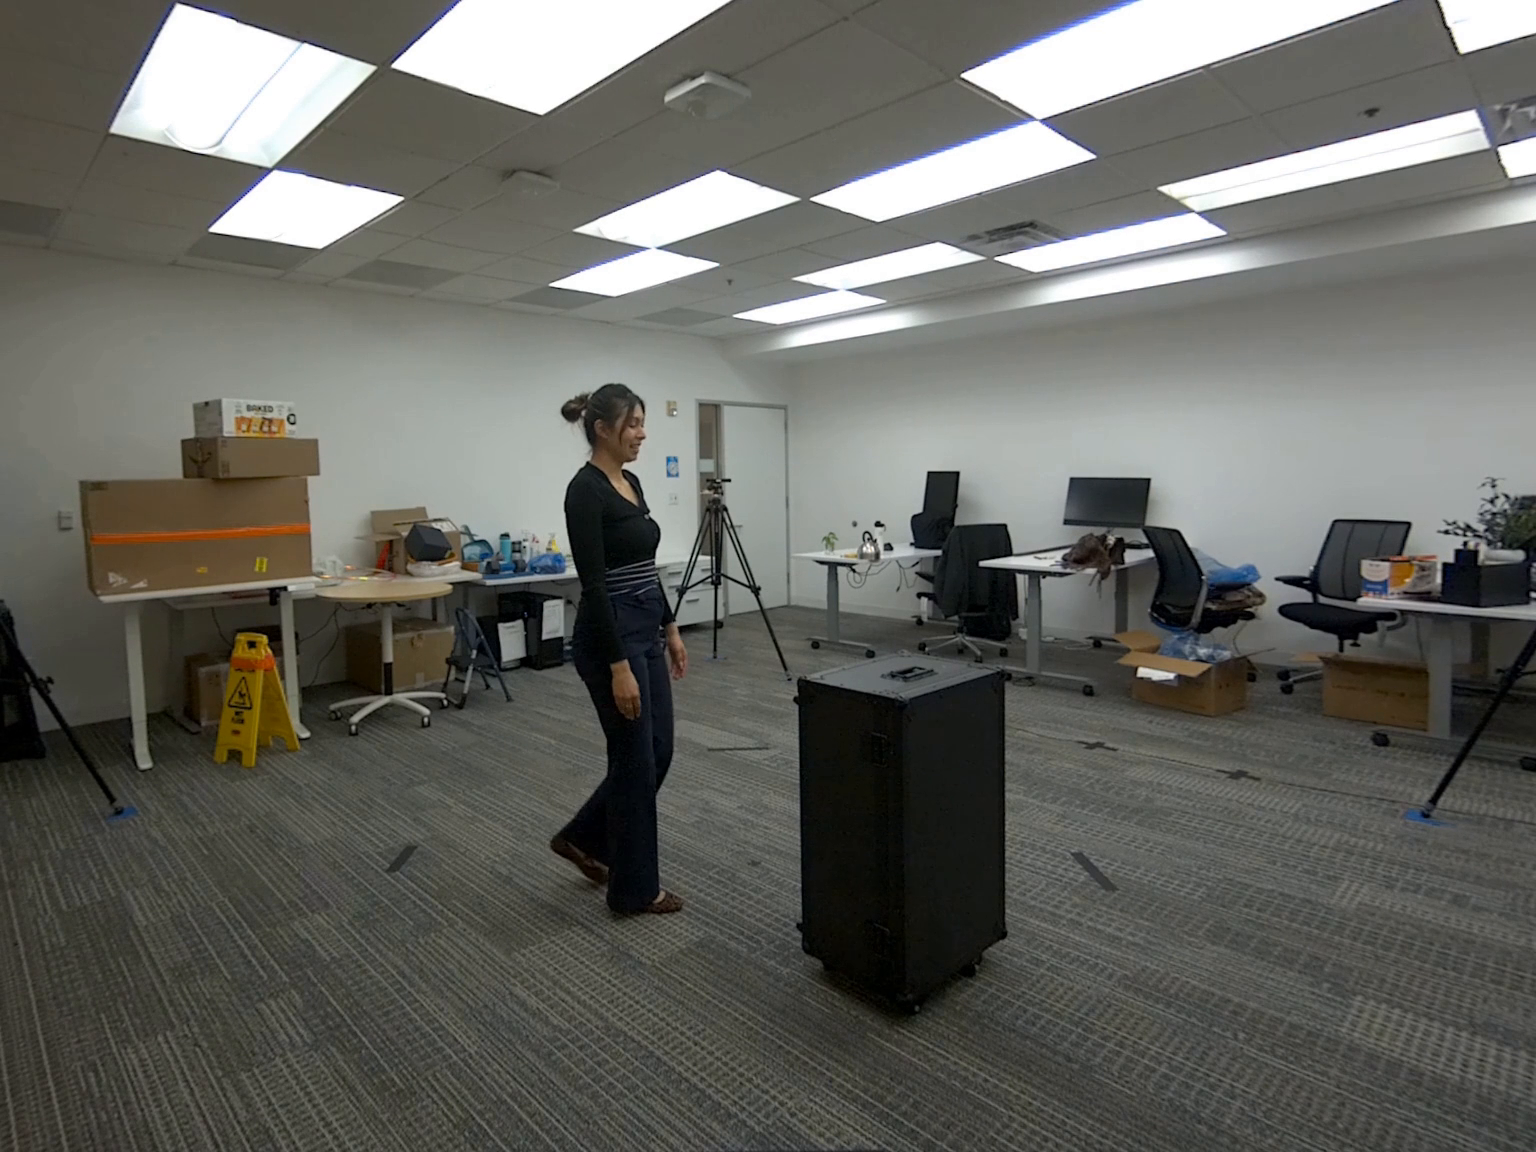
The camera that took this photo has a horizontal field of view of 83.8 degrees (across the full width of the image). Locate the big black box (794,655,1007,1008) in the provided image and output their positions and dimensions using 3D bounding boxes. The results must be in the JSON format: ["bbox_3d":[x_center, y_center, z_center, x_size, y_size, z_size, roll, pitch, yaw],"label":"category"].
[{"bbox_3d":[0.377,0.693,2.405,0.507,0.859,0.408,-4,4,-42],"label":"big black box"}]
